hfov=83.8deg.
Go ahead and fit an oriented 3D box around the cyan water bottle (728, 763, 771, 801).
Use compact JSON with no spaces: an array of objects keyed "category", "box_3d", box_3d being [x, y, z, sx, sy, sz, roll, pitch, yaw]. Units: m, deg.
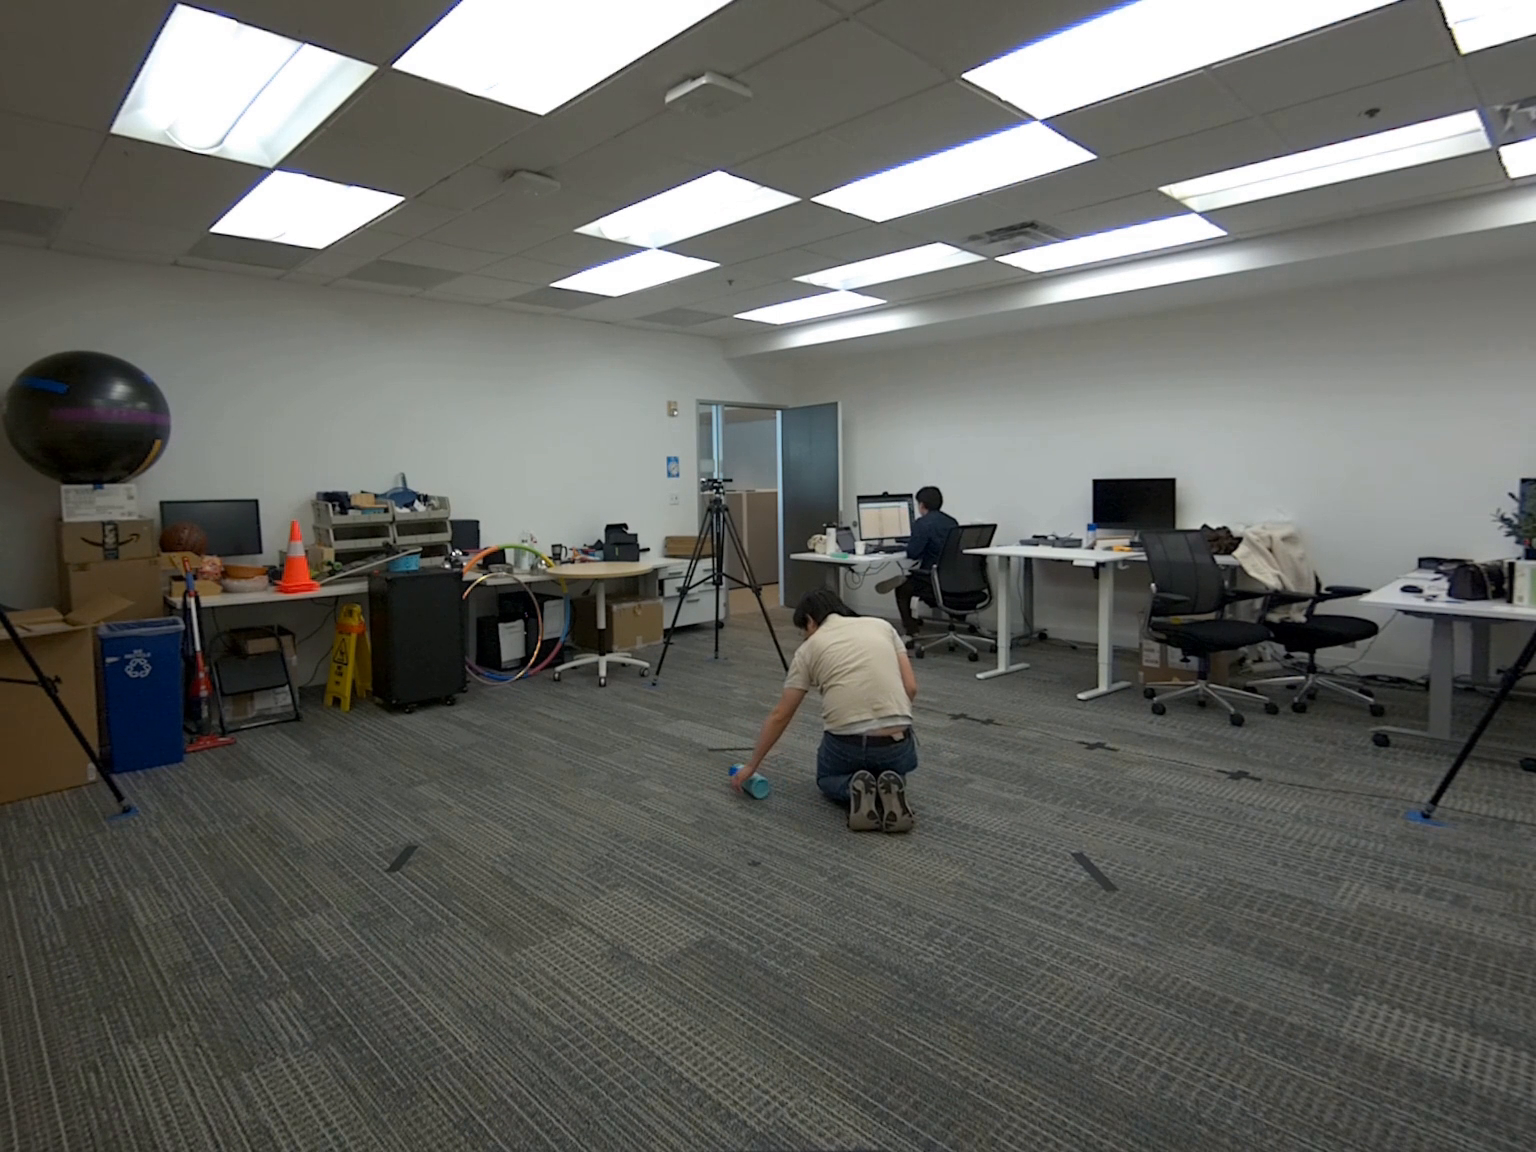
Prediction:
[{"category":"cyan water bottle","box_3d":[-0.091,0.913,3.864,0.090,0.092,0.290,-3,4,-23]}]
